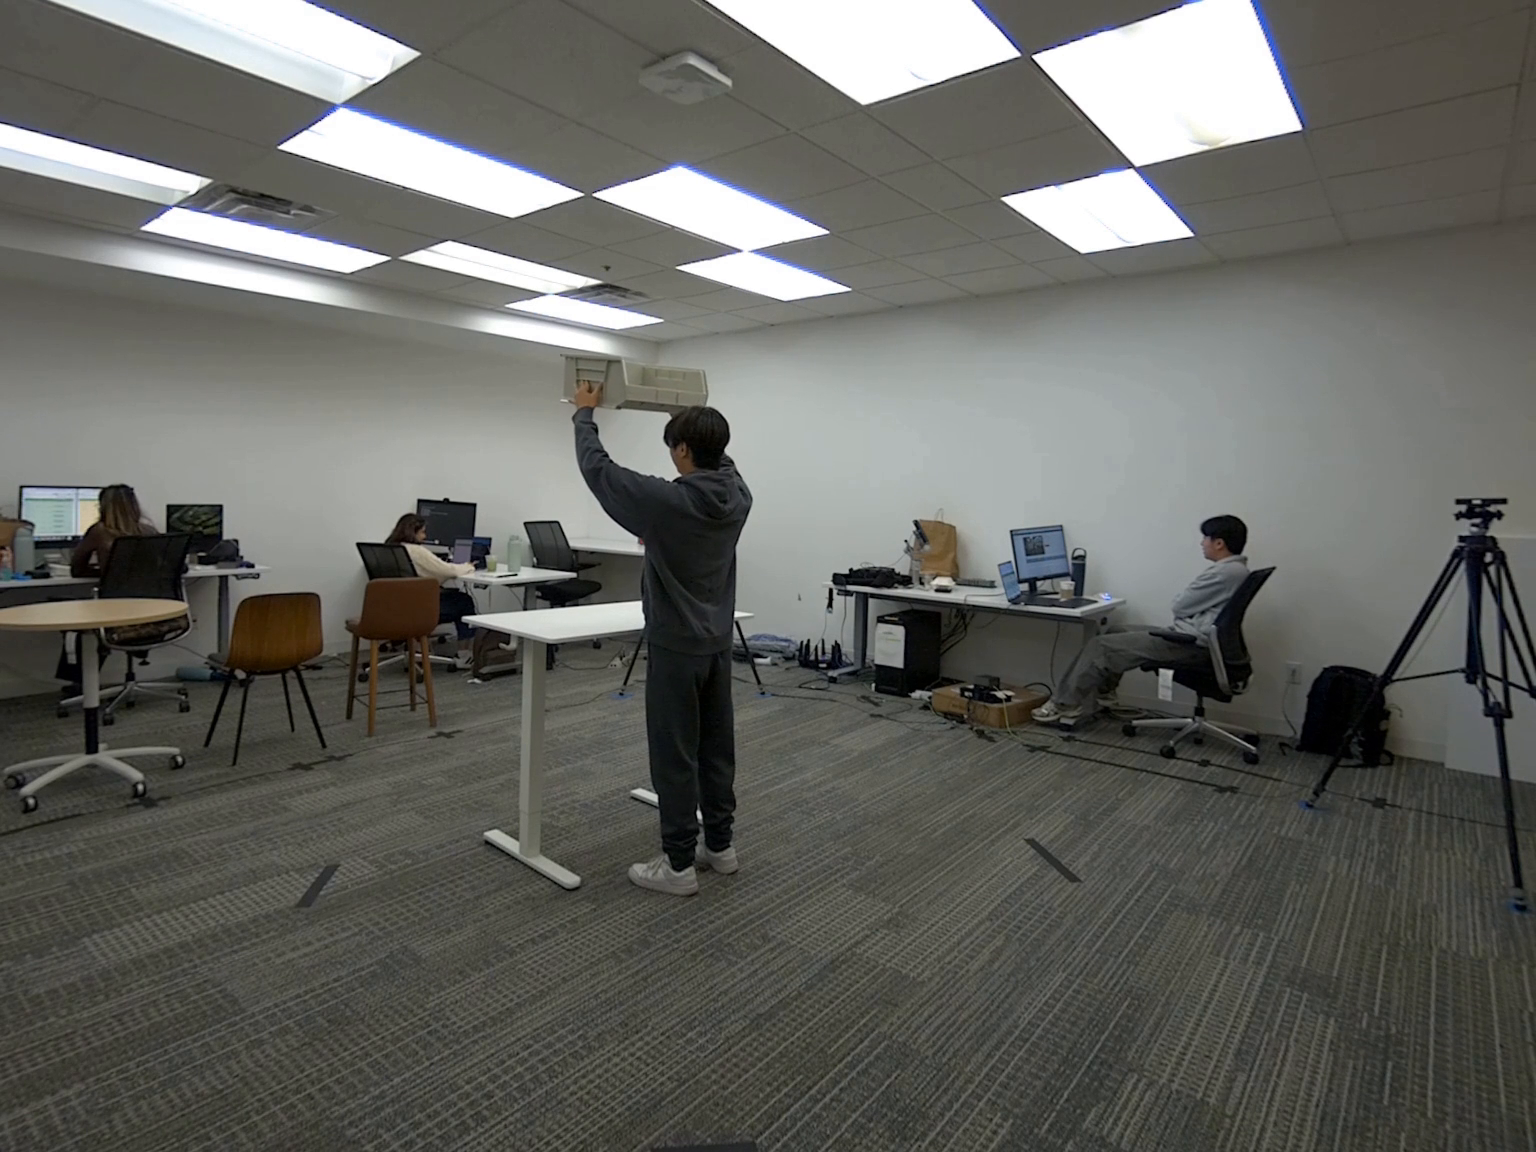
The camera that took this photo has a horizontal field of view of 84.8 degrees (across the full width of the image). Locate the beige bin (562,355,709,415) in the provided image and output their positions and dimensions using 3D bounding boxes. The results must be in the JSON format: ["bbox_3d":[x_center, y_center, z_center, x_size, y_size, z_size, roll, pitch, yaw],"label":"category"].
[{"bbox_3d":[-0.509,-0.712,3.176,0.392,0.187,0.410,15,14,39],"label":"beige bin"}]
